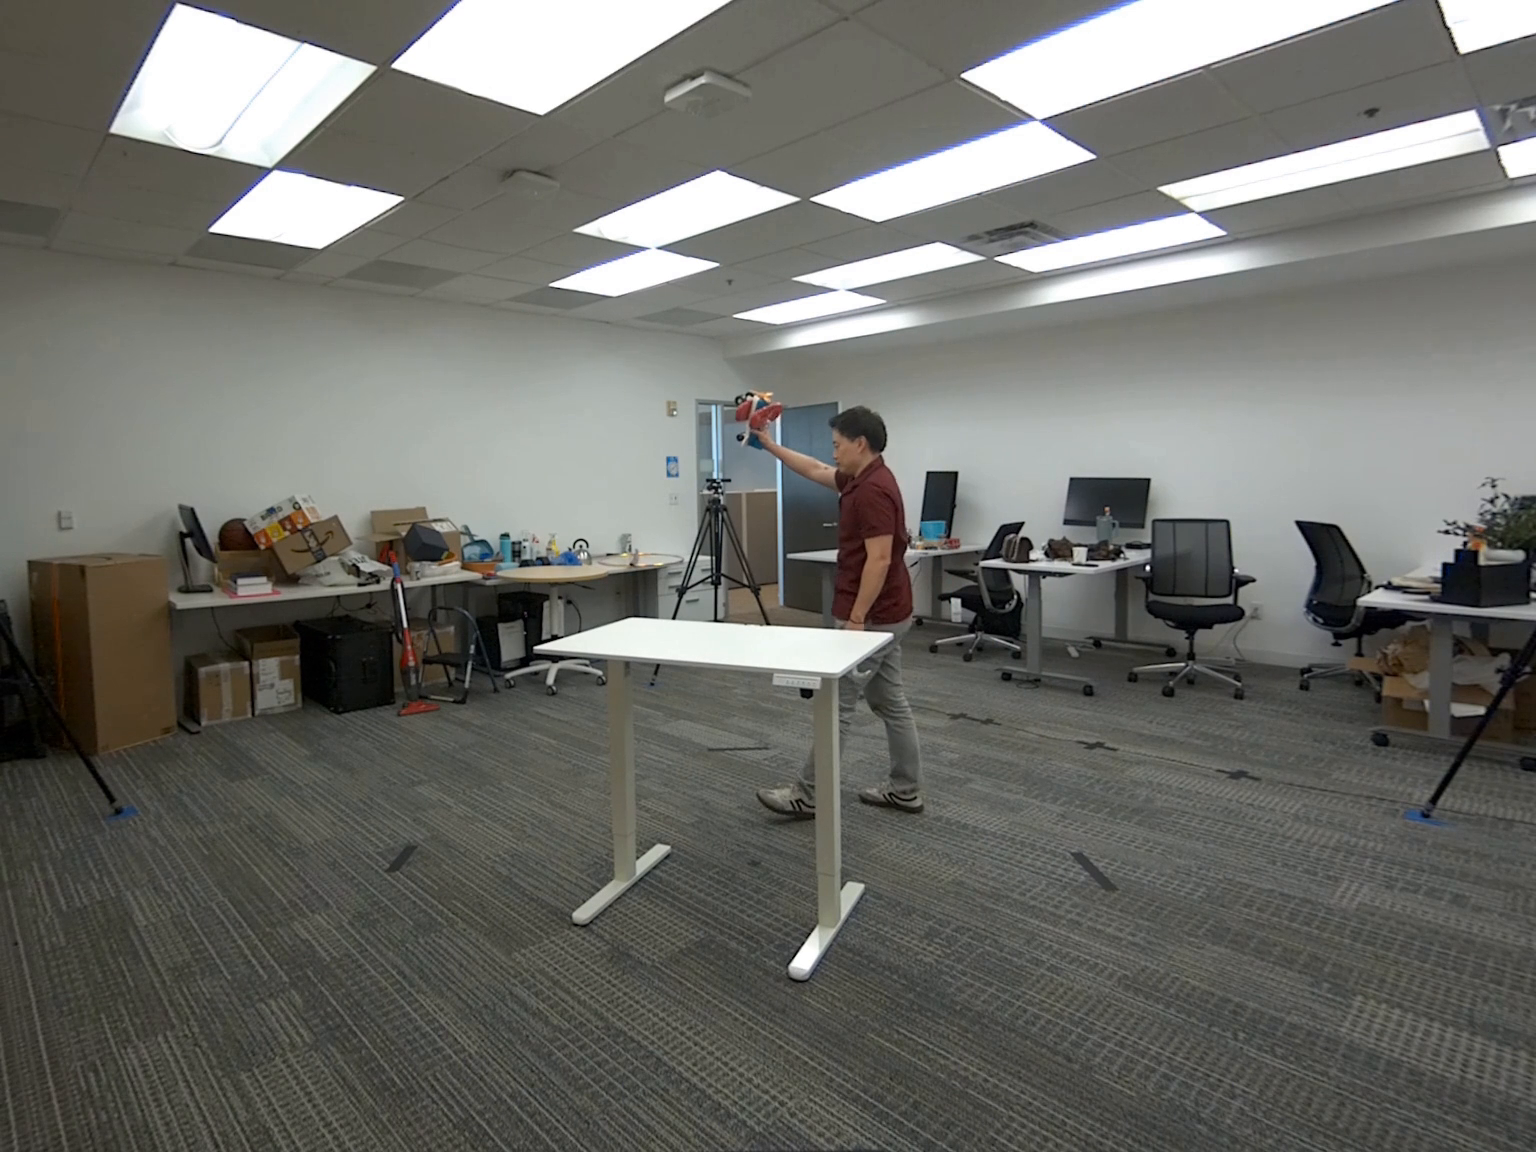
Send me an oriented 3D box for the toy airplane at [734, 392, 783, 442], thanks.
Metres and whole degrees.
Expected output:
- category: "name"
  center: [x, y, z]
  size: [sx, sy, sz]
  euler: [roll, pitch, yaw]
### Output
- category: "toy airplane"
  center: [-0.054, -0.715, 3.850]
  size: [0.161, 0.250, 0.252]
  euler: [16, 55, 26]
